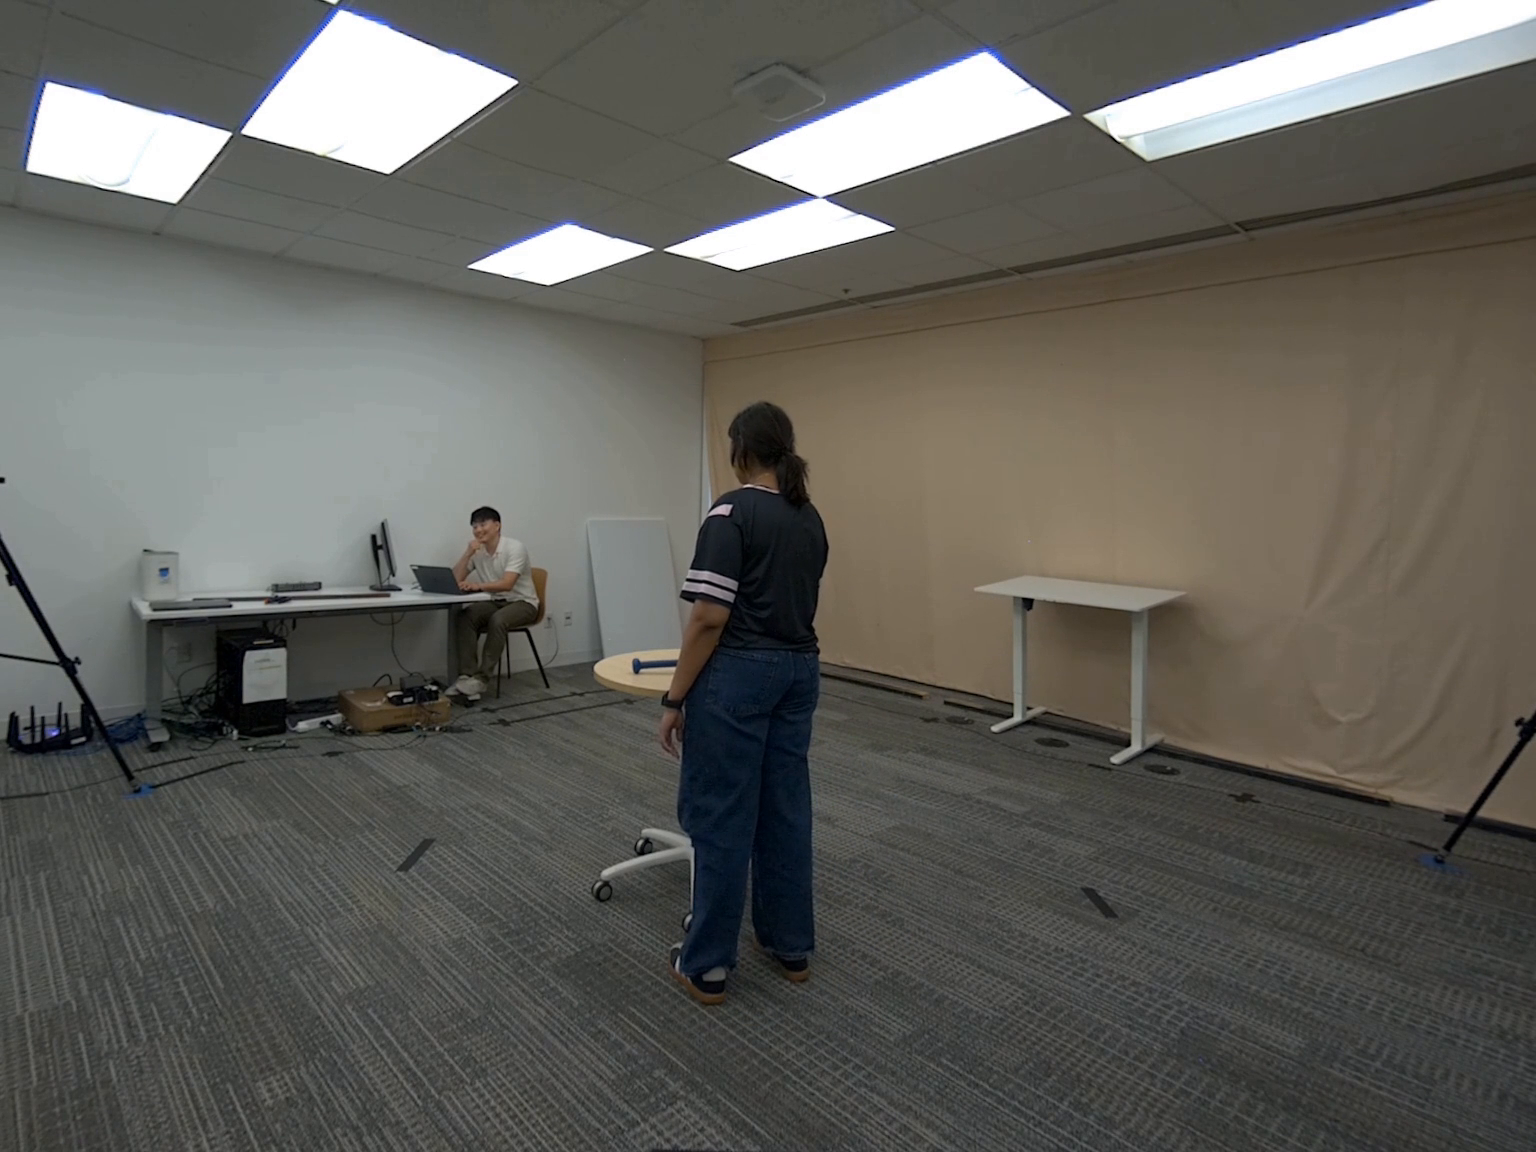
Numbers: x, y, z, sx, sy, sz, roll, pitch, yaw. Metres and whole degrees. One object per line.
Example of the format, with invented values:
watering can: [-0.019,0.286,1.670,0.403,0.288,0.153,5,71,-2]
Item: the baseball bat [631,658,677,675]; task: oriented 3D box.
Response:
baseball bat: [-0.196,0.305,2.882,0.540,0.089,0.090,-1,5,-7]
